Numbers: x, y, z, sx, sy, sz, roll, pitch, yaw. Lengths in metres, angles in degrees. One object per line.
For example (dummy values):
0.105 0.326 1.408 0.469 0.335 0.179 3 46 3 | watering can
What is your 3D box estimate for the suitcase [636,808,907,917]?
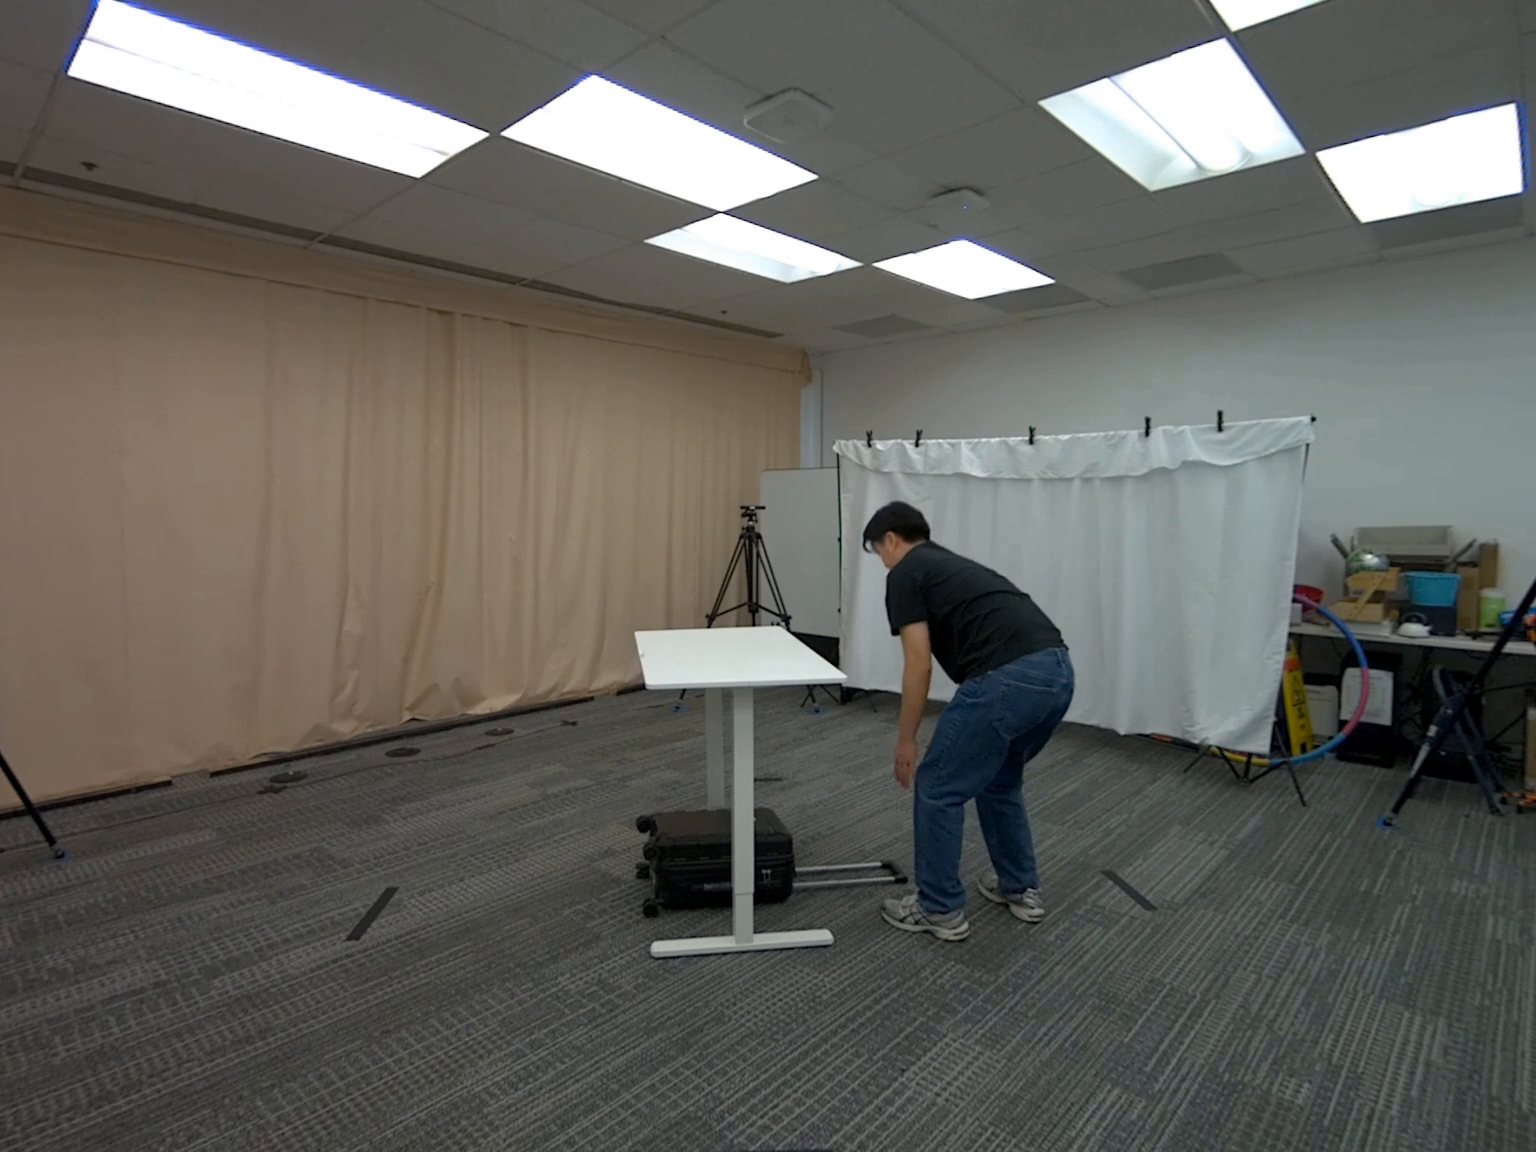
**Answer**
0.017 1.005 3.084 0.968 0.257 0.388 -1 2 -10 | suitcase
